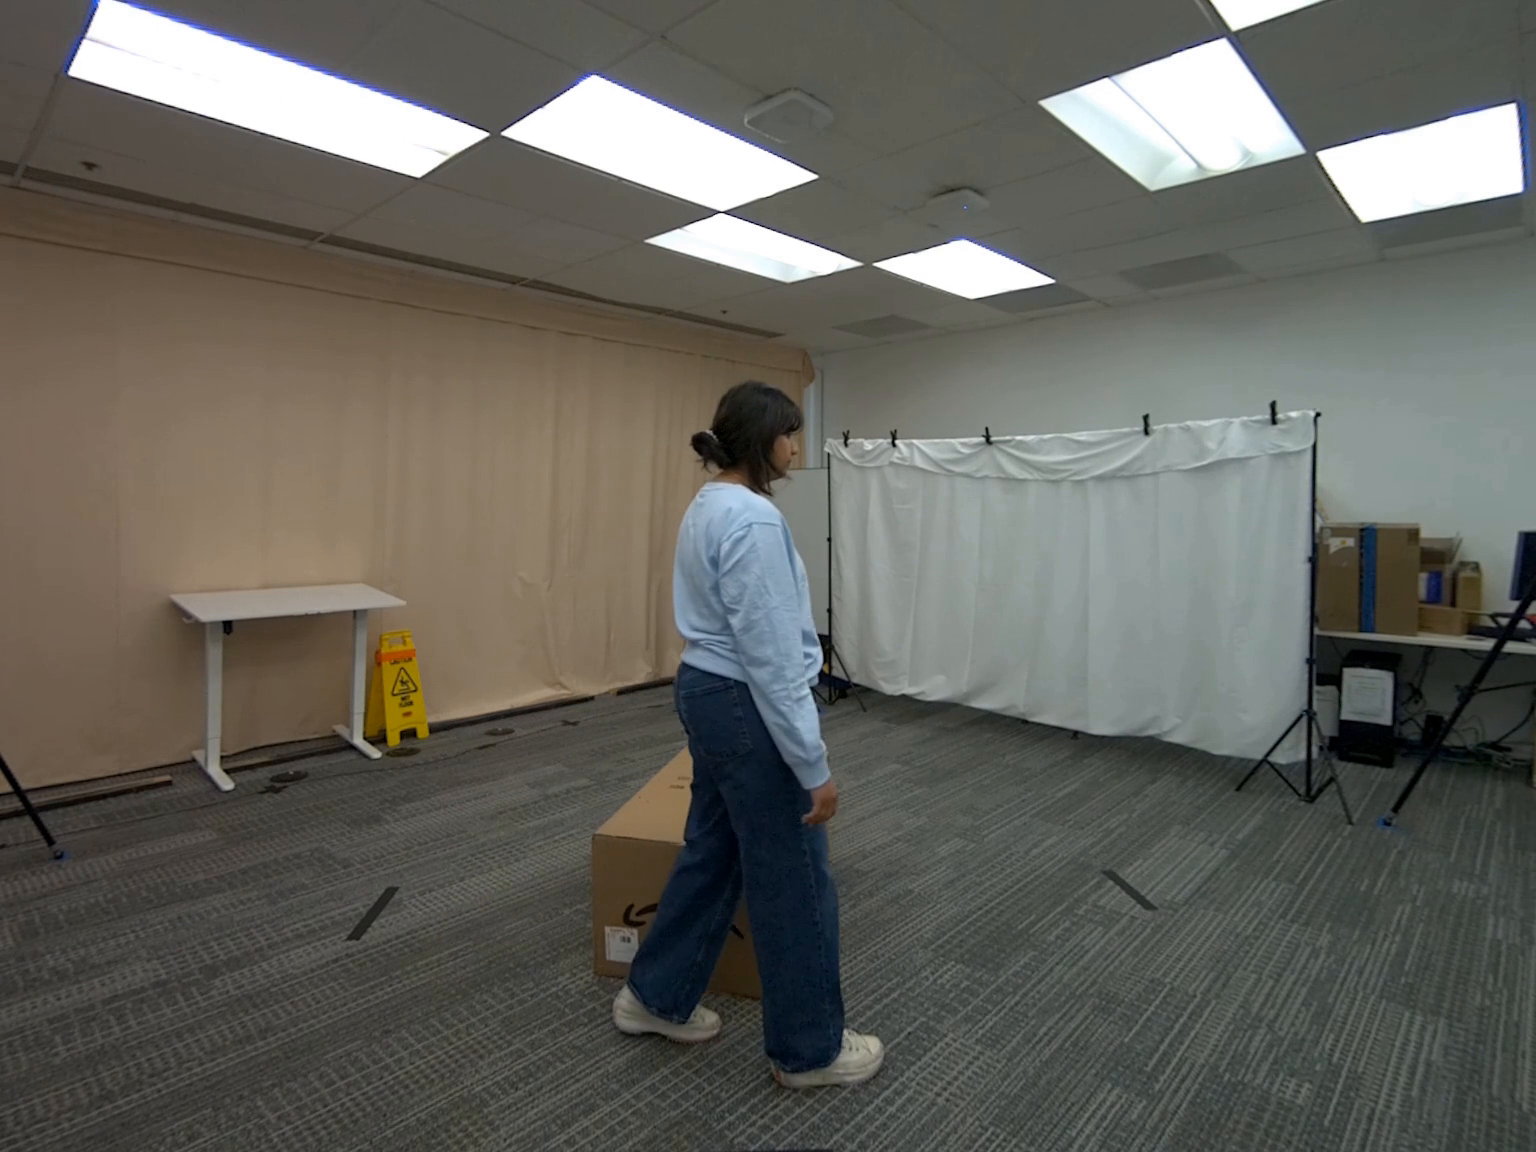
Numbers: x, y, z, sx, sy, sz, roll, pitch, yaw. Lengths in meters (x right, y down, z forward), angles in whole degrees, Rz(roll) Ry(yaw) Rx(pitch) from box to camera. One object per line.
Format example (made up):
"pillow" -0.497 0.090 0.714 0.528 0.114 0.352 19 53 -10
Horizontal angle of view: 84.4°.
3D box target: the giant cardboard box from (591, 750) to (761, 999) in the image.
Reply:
"giant cardboard box" -0.134 0.934 2.908 0.586 0.425 1.013 0 5 13
